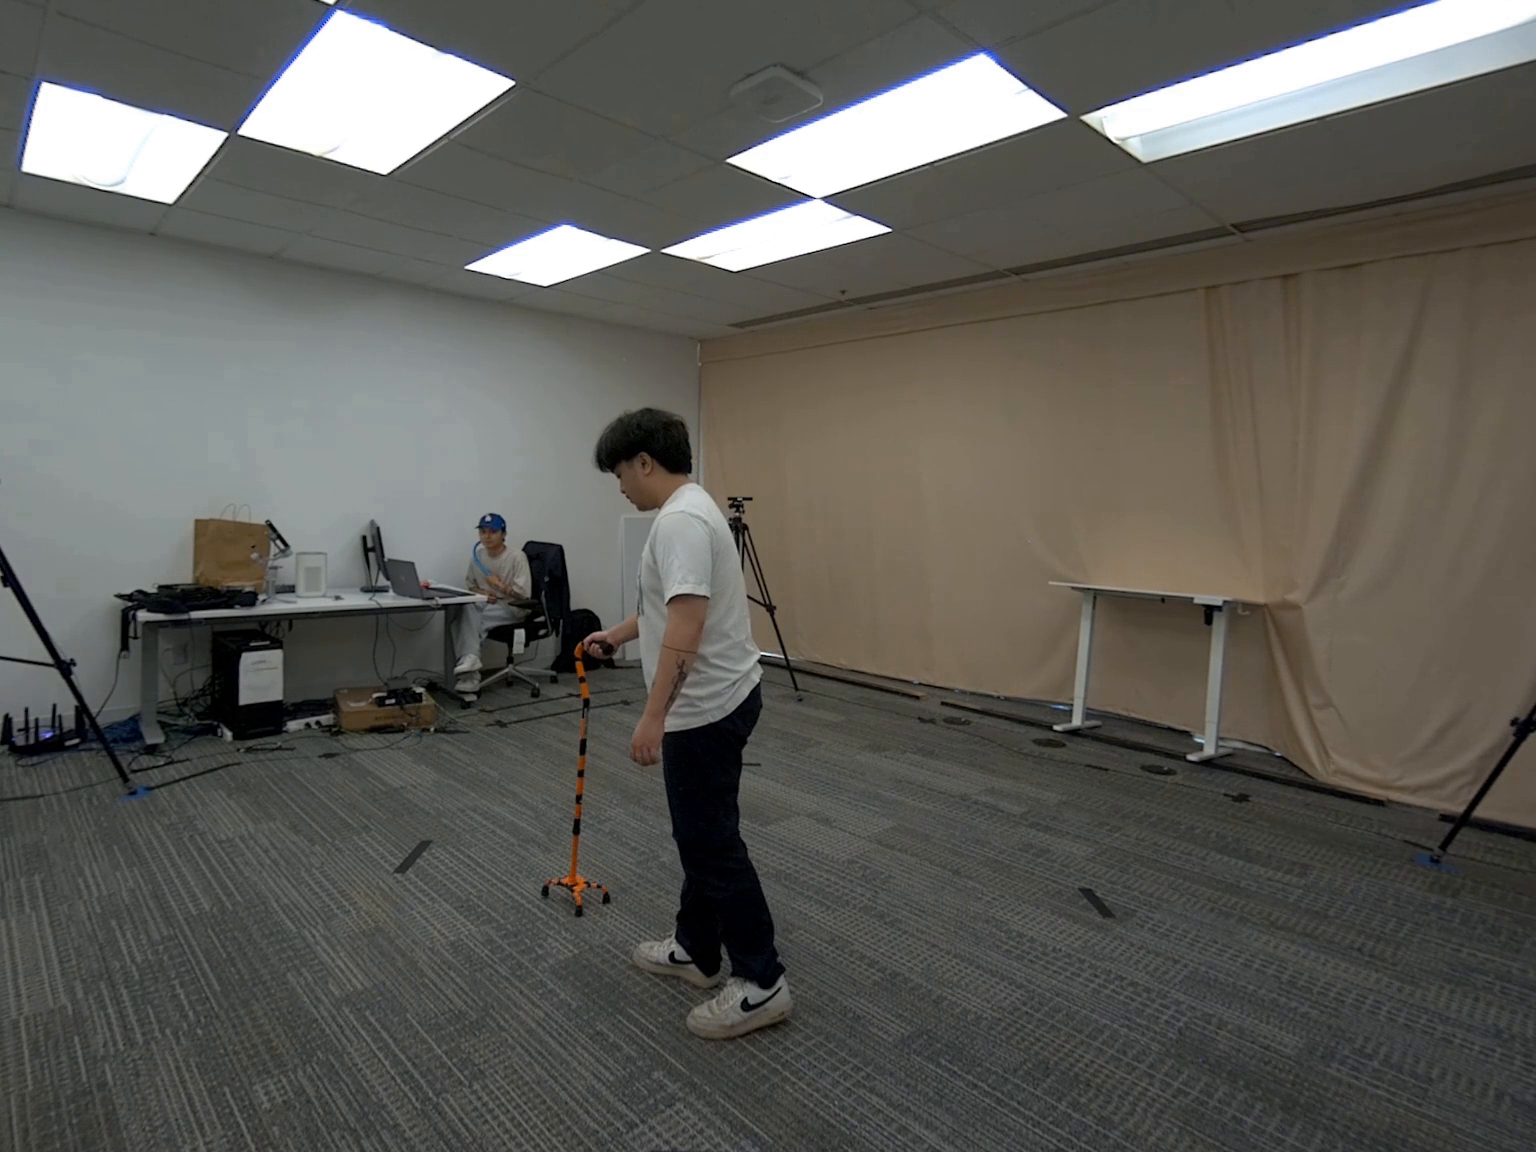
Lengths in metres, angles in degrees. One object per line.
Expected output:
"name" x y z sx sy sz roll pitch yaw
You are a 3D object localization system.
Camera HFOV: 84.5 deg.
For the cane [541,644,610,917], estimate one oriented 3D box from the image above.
"cane" -0.626 0.669 2.850 0.212 0.905 0.148 9 6 37
